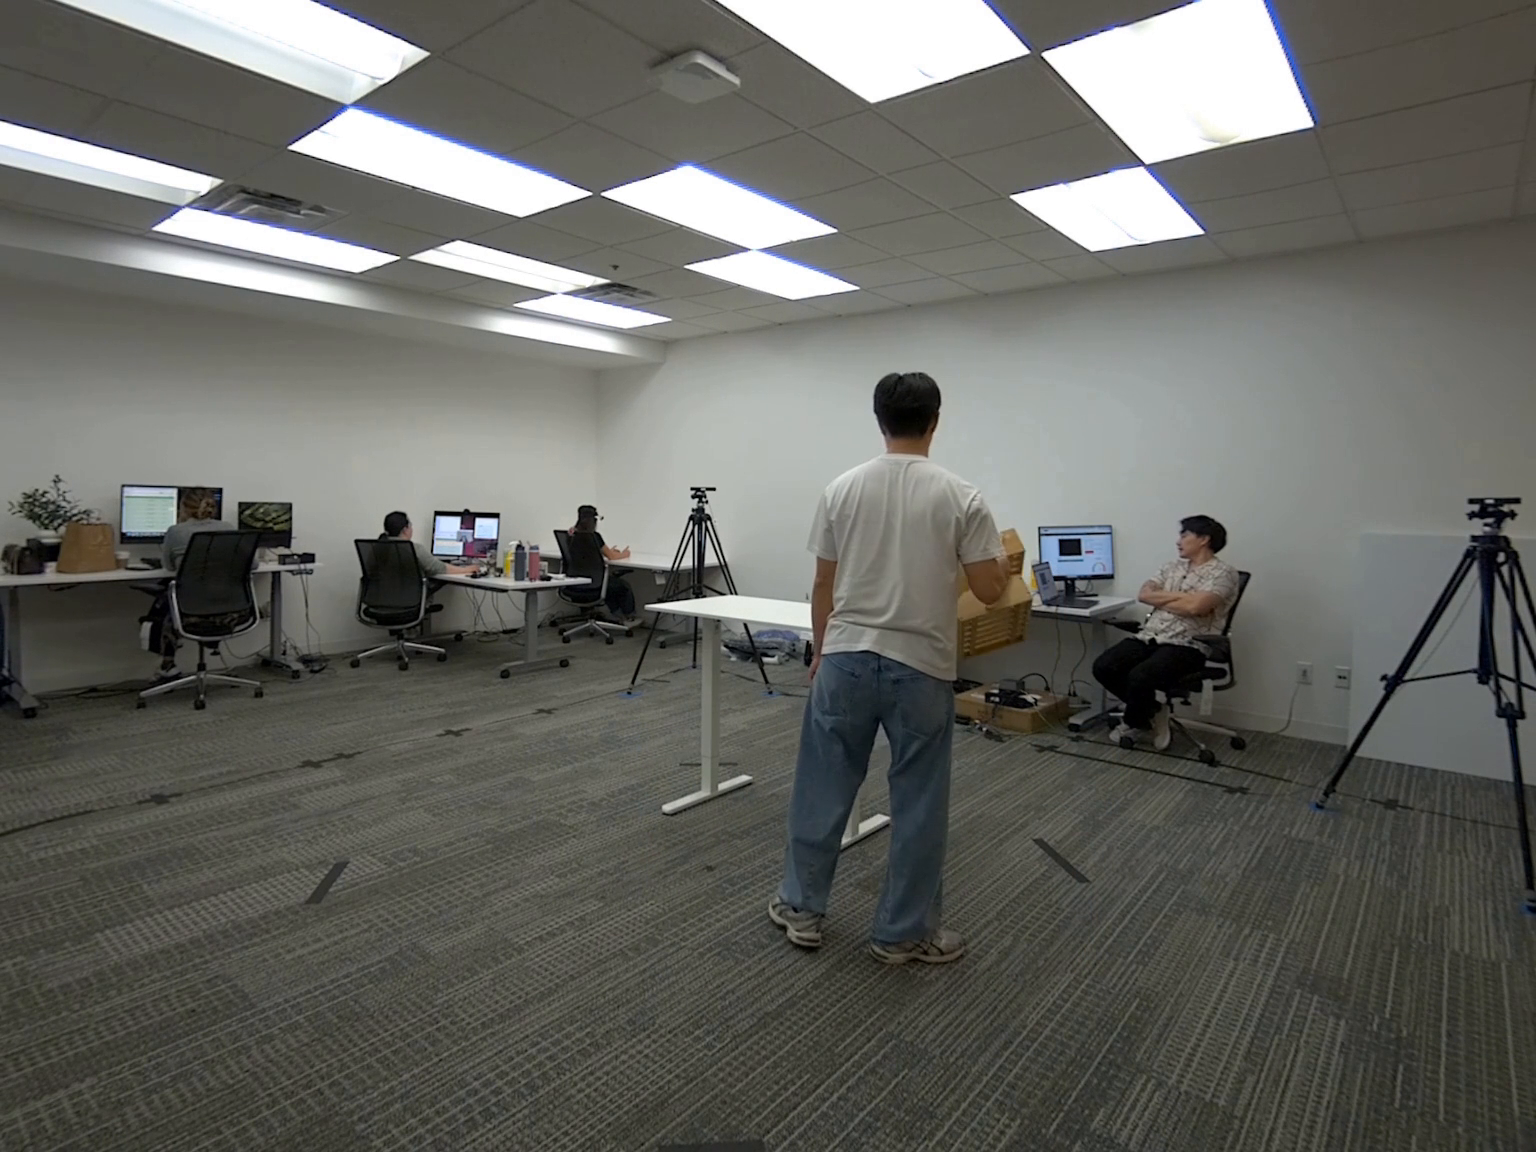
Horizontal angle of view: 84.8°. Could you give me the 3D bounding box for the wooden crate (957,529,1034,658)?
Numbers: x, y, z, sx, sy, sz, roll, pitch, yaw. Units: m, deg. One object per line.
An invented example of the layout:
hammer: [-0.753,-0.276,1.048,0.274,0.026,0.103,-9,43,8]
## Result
wooden crate: [0.692,0.059,2.831,0.303,0.282,0.313,-18,-33,3]
